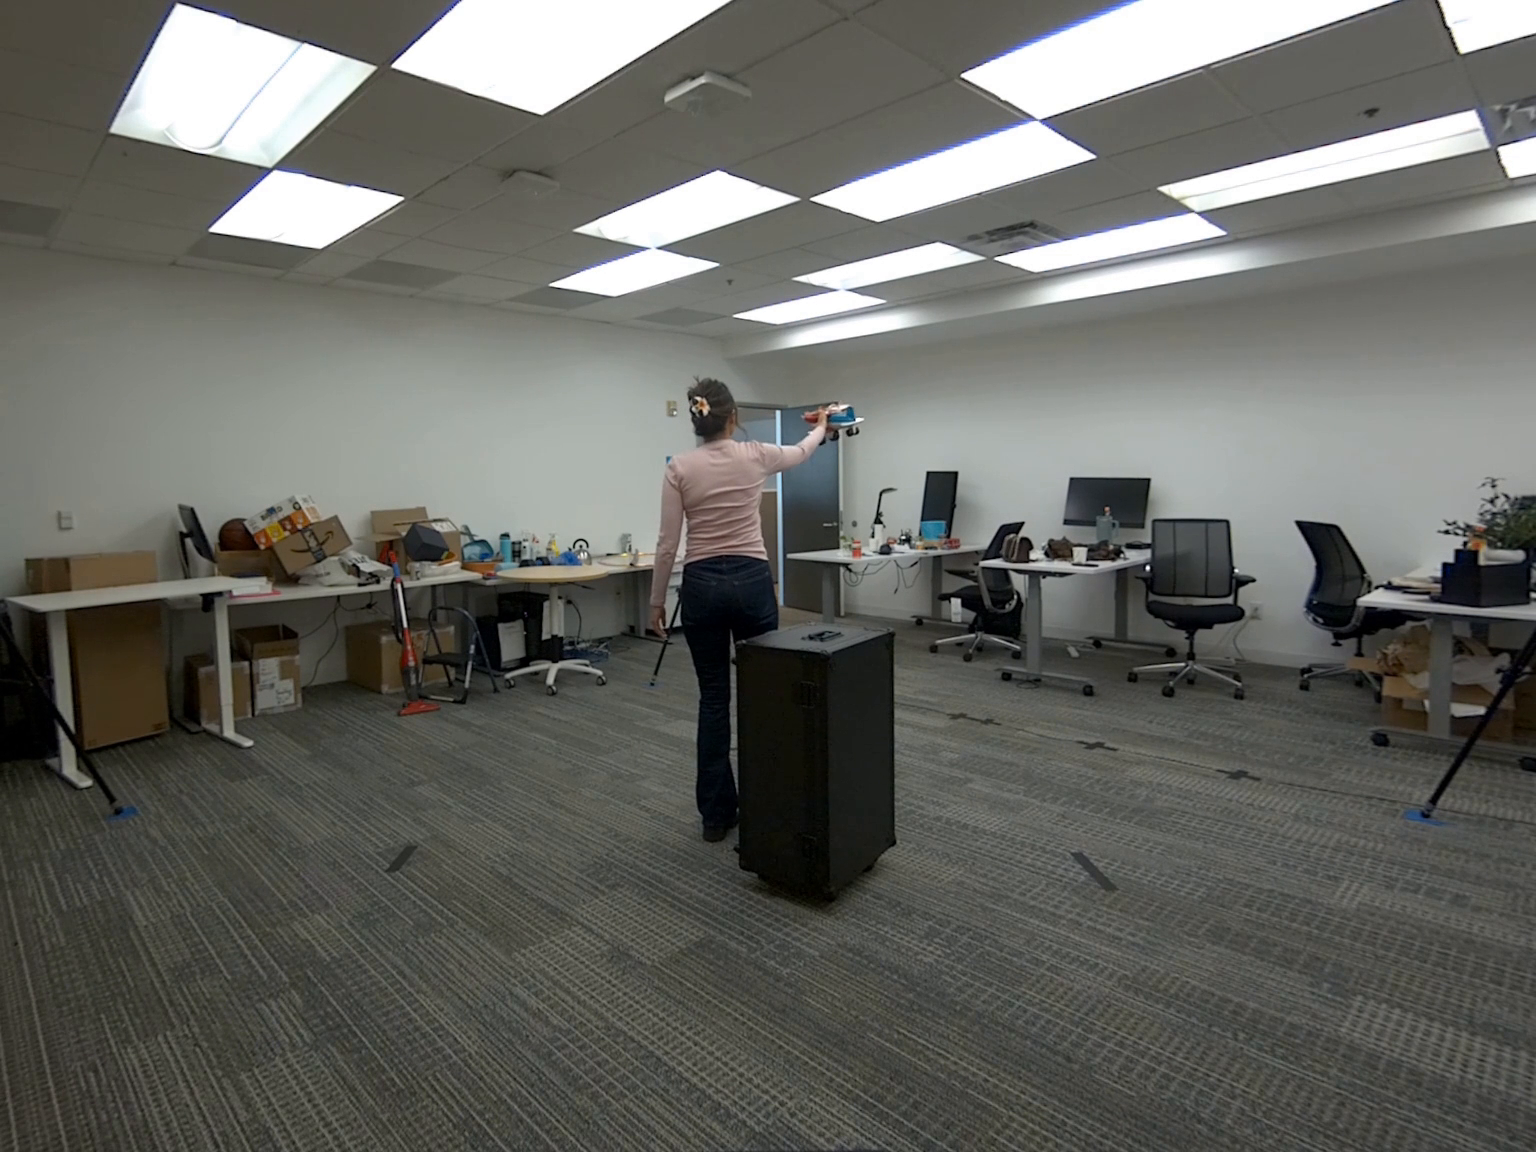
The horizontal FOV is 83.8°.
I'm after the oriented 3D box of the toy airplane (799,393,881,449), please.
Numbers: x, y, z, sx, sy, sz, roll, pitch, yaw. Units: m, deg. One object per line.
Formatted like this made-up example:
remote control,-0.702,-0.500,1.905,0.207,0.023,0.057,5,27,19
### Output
toy airplane,0.326,-0.699,3.872,0.264,0.155,0.249,-14,10,29
